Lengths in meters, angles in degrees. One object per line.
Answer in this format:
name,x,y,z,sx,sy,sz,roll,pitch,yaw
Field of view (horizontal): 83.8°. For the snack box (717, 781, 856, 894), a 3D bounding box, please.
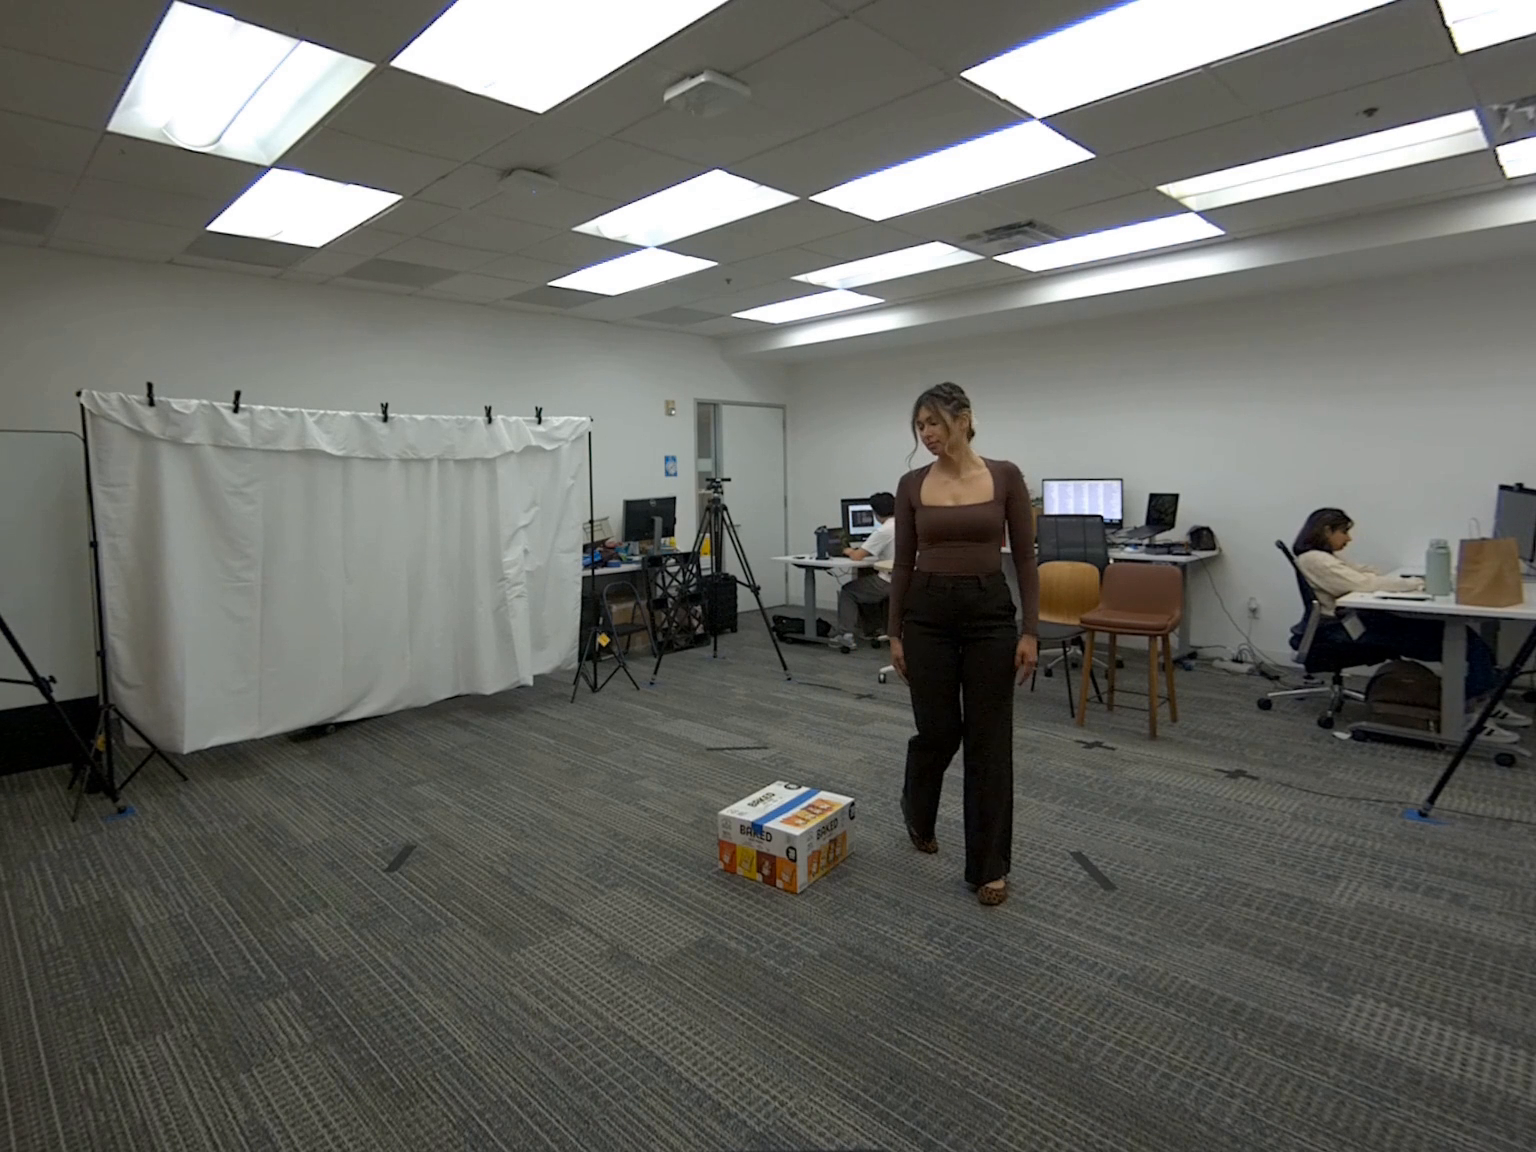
snack box,0.077,0.937,3.116,0.350,0.205,0.395,3,7,36
